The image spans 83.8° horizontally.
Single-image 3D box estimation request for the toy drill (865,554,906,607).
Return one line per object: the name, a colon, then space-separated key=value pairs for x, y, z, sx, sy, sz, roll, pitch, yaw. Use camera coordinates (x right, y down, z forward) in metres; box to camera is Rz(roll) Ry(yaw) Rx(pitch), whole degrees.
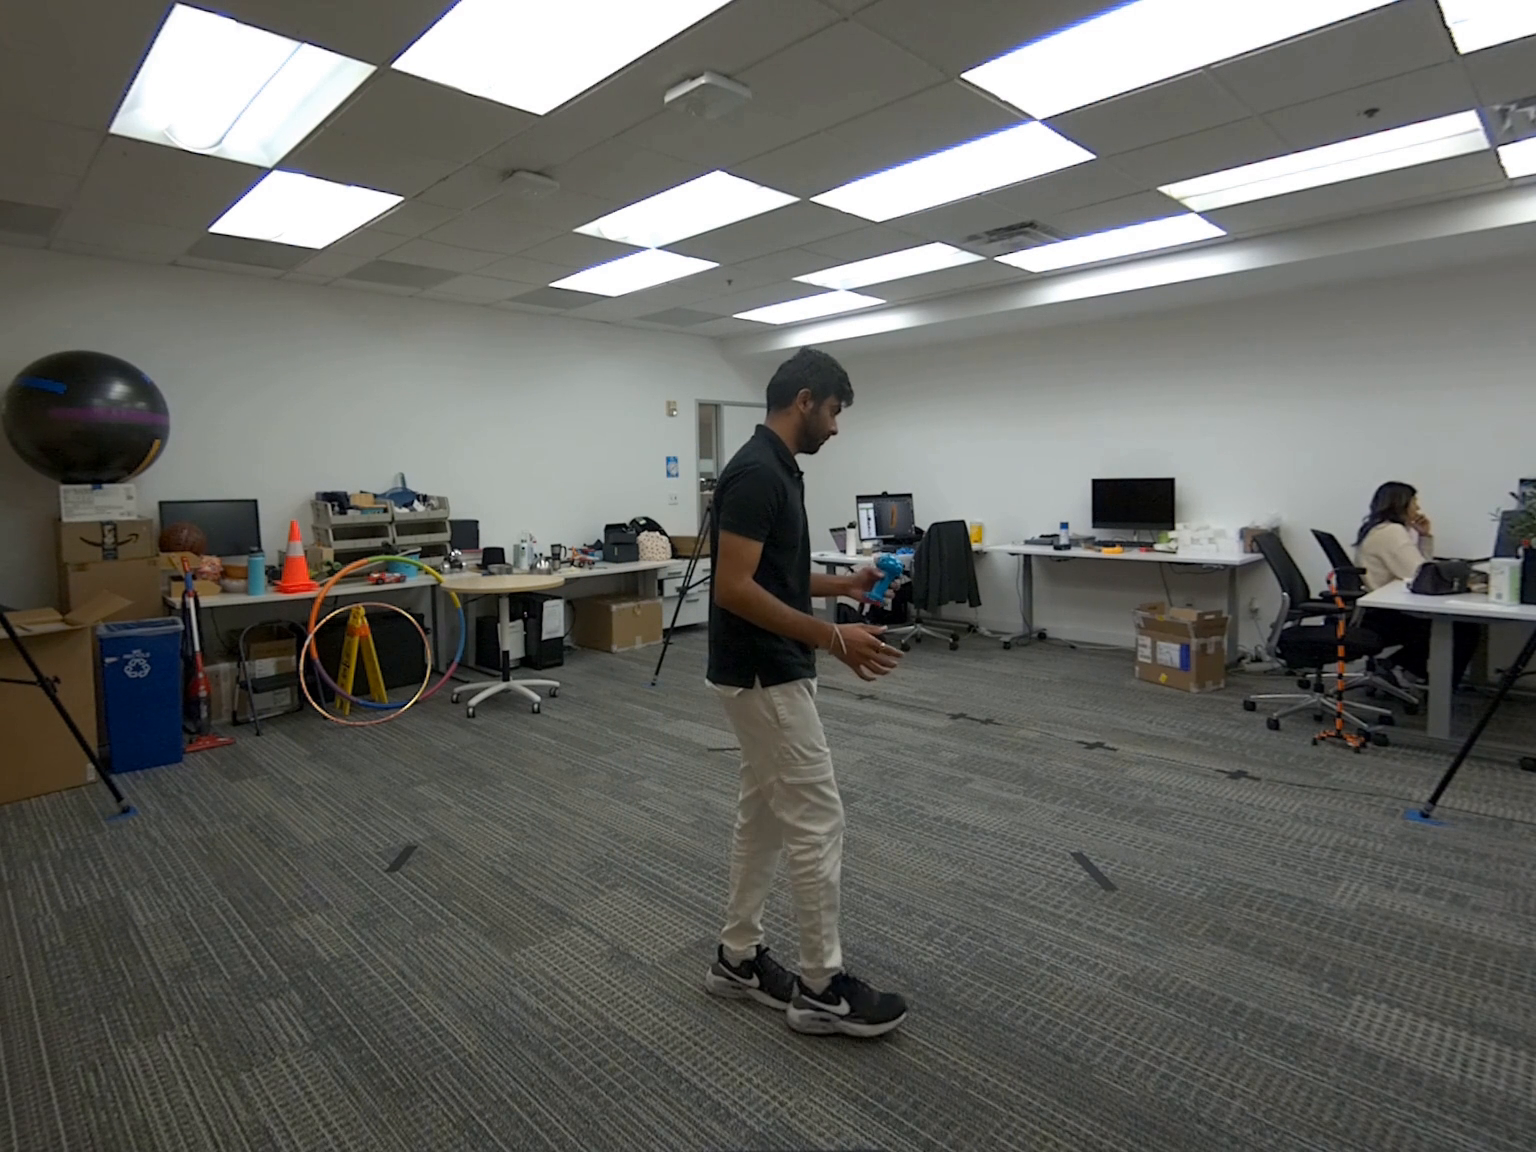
toy drill: x=0.313 y=-0.003 z=2.374 sx=0.060 sy=0.146 sz=0.174 roll=27 pitch=1 yaw=-20
